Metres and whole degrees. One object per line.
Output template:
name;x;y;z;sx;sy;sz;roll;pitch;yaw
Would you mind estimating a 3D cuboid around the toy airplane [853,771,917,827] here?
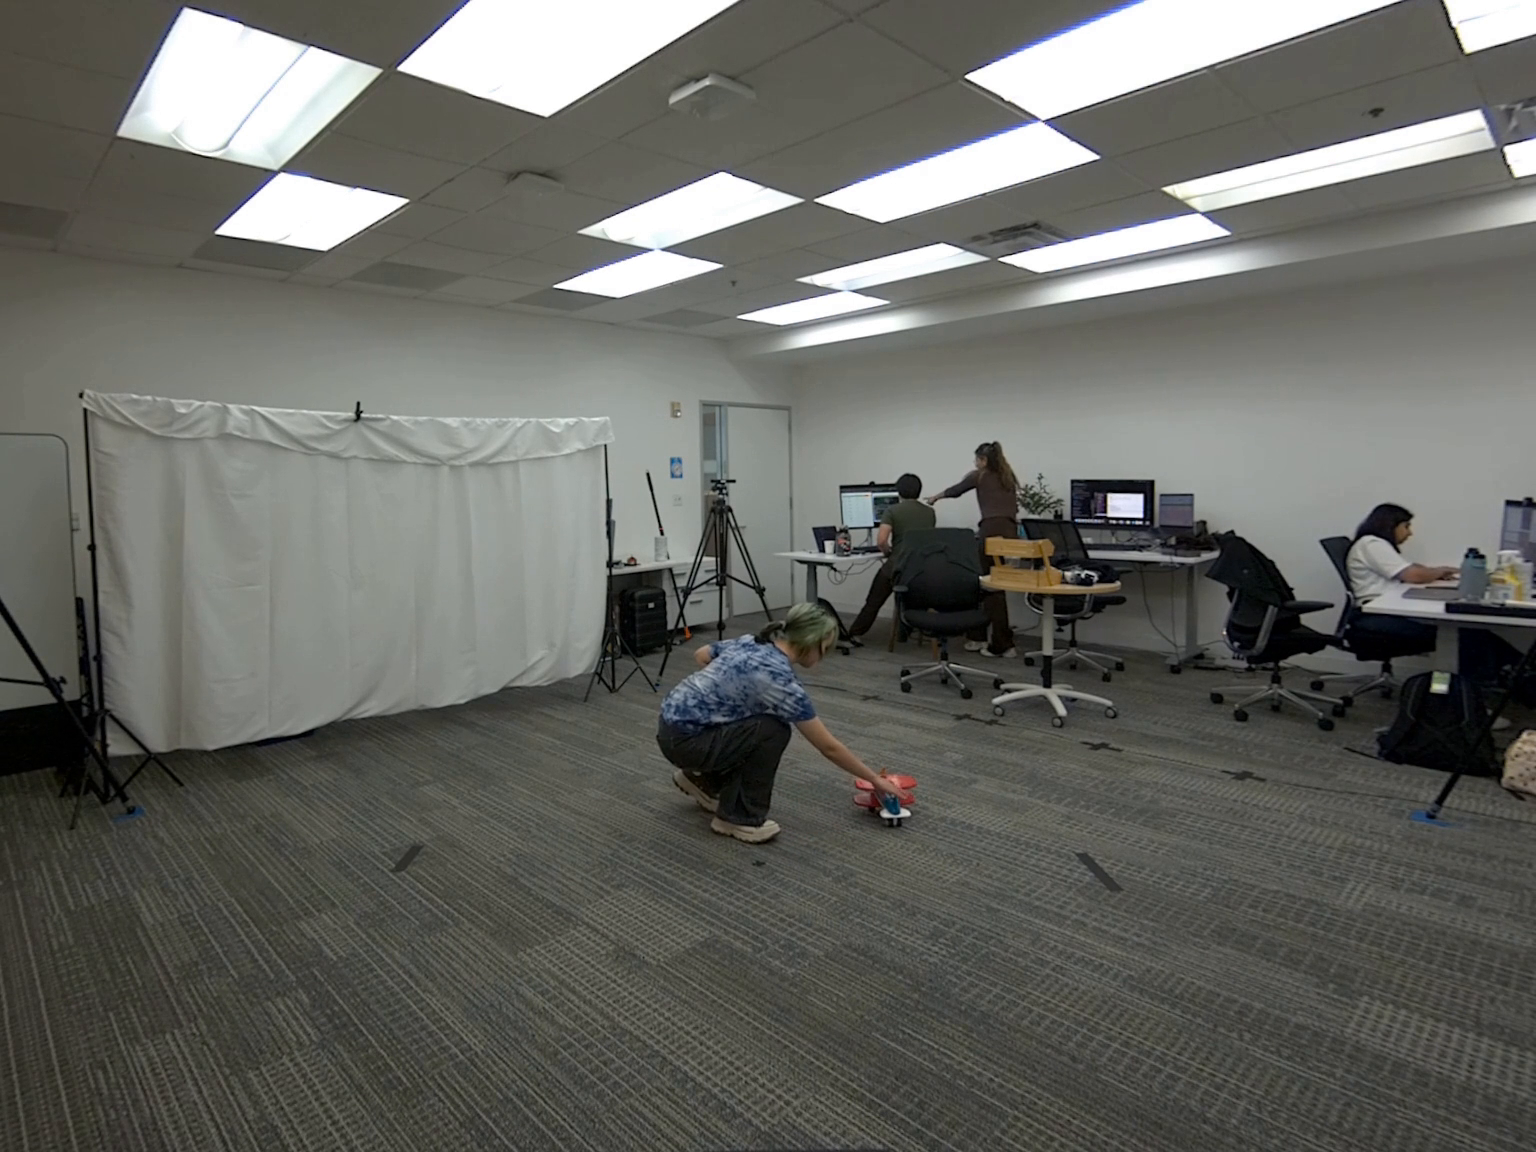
toy airplane;0.505;0.917;3.507;0.245;0.156;0.267;-4;6;-34
